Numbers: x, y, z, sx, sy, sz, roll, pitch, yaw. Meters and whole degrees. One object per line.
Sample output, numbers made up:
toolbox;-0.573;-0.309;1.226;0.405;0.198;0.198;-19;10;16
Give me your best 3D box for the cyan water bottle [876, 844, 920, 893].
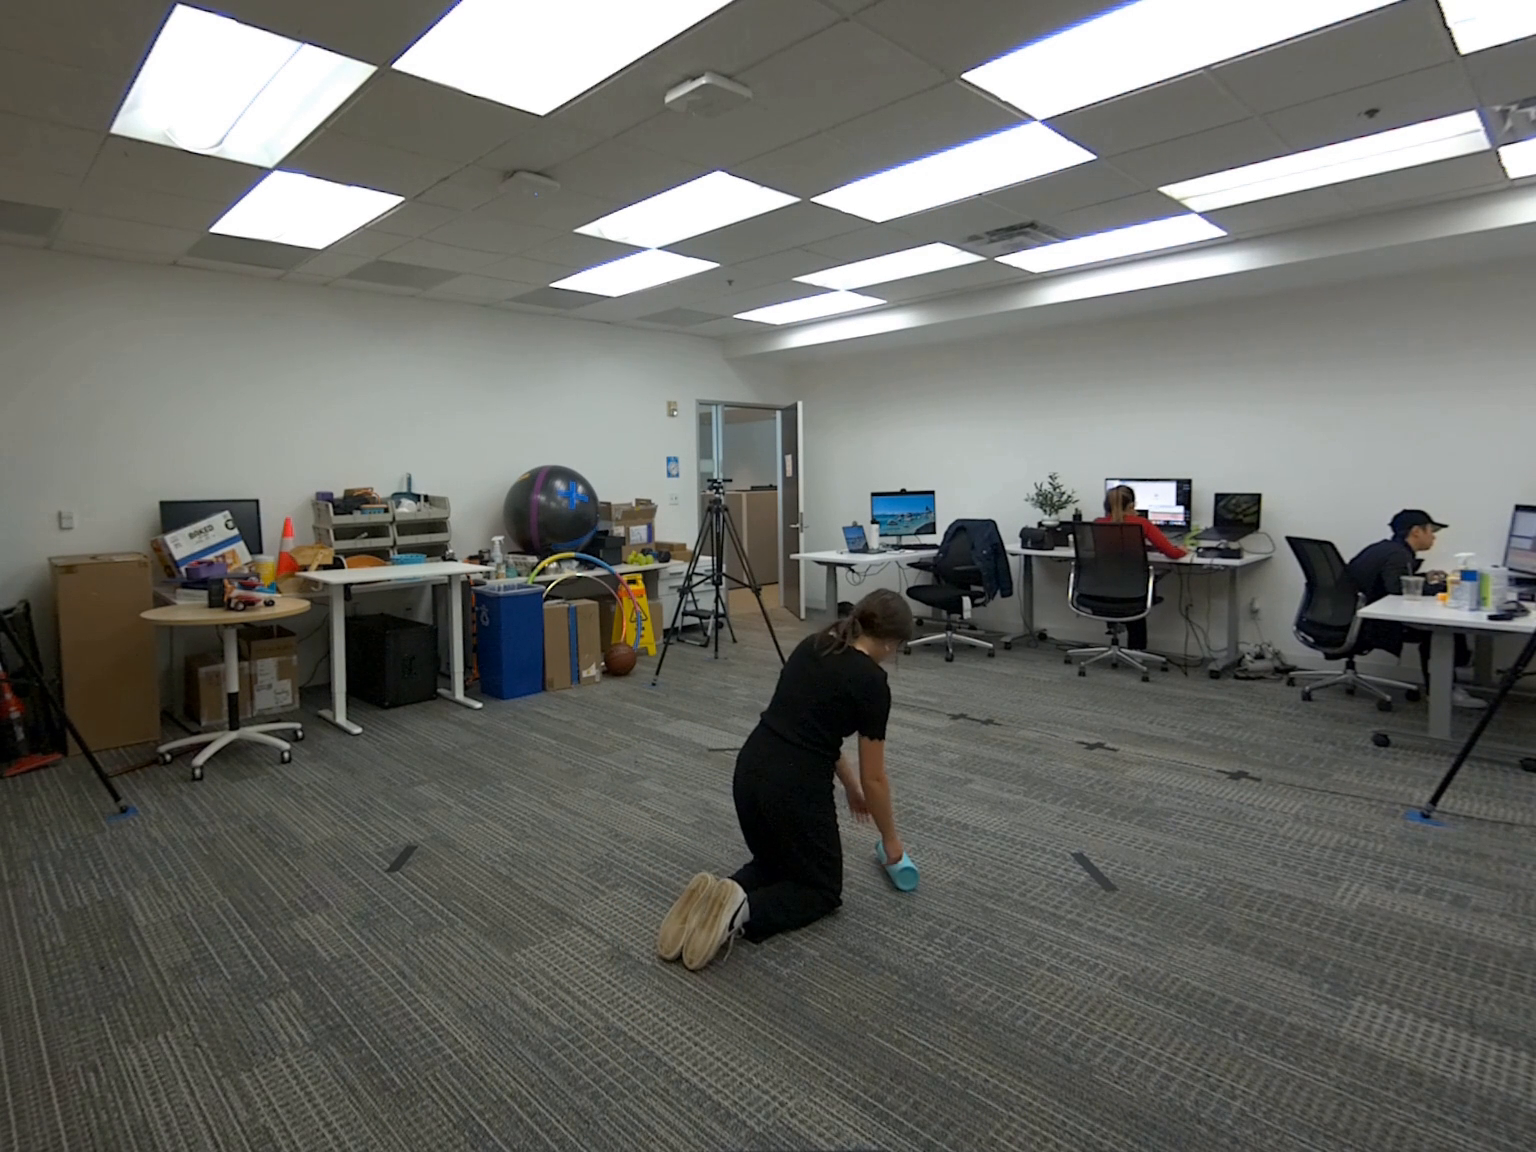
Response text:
cyan water bottle;0.451;1.004;3.011;0.092;0.092;0.286;-1;6;-7
